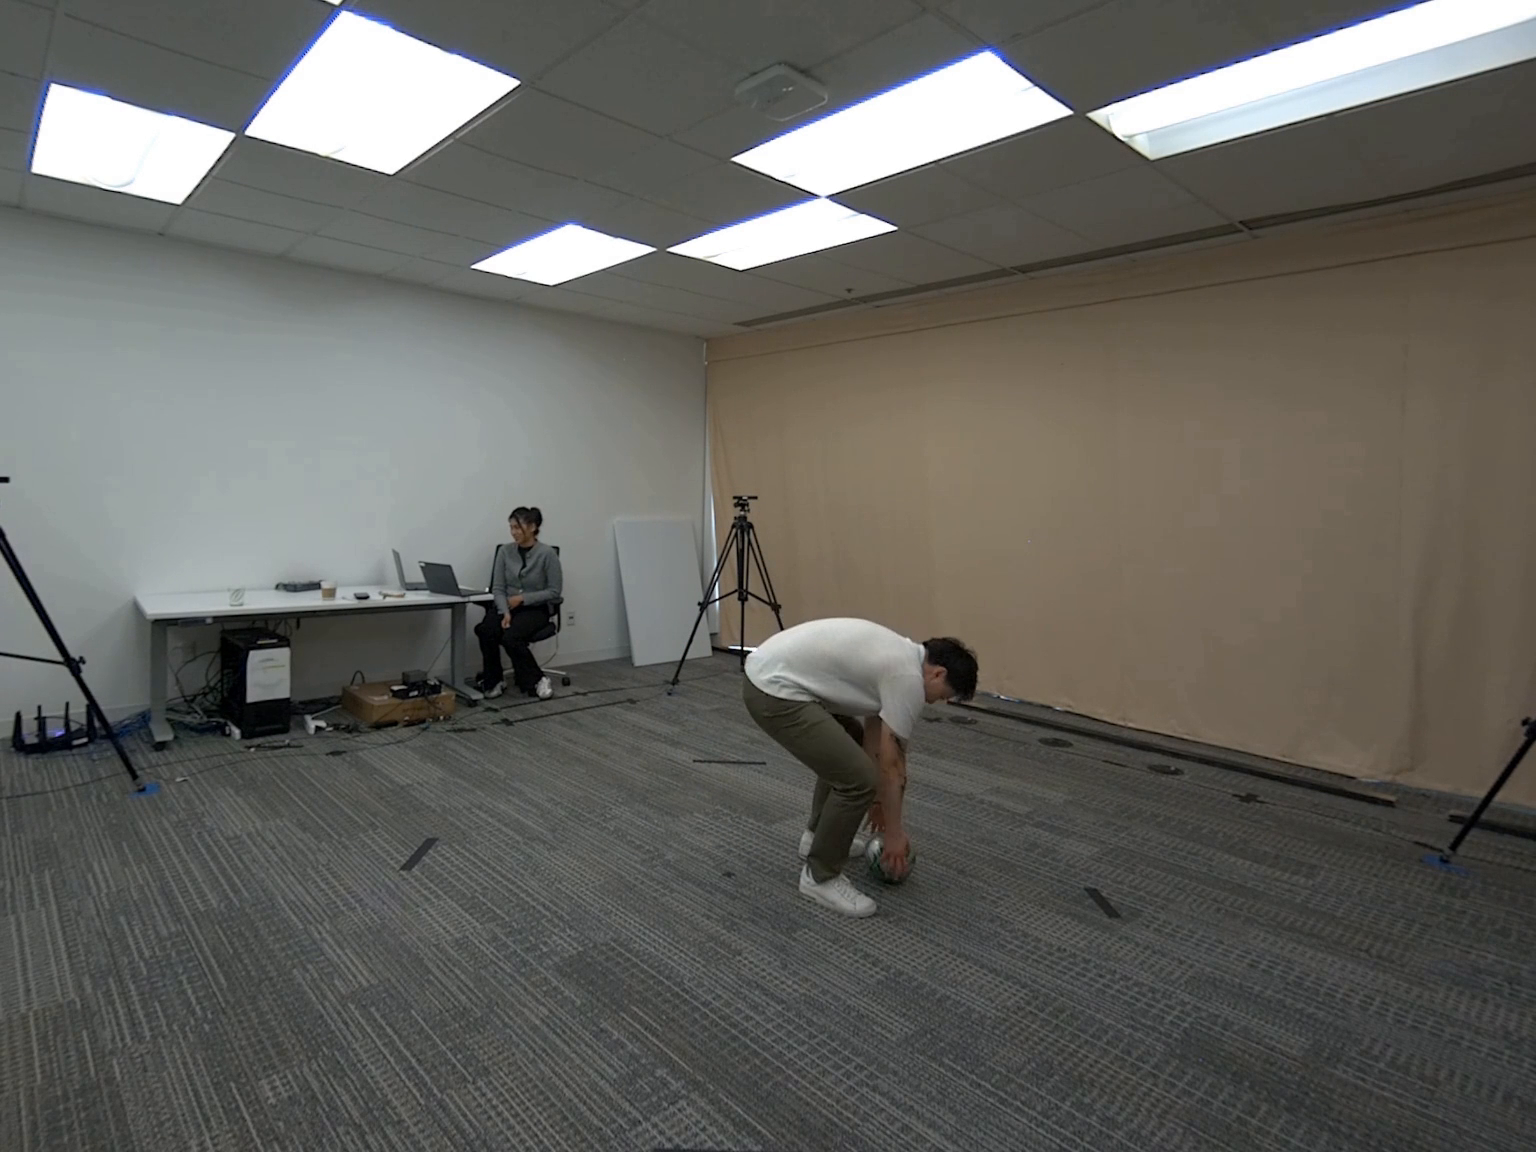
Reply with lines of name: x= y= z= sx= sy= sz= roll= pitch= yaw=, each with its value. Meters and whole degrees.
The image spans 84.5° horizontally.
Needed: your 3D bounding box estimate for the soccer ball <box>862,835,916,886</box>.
soccer ball: x=0.438 y=1.022 z=3.084 sx=0.187 sy=0.187 sz=0.188 roll=1 pitch=4 yaw=-1
